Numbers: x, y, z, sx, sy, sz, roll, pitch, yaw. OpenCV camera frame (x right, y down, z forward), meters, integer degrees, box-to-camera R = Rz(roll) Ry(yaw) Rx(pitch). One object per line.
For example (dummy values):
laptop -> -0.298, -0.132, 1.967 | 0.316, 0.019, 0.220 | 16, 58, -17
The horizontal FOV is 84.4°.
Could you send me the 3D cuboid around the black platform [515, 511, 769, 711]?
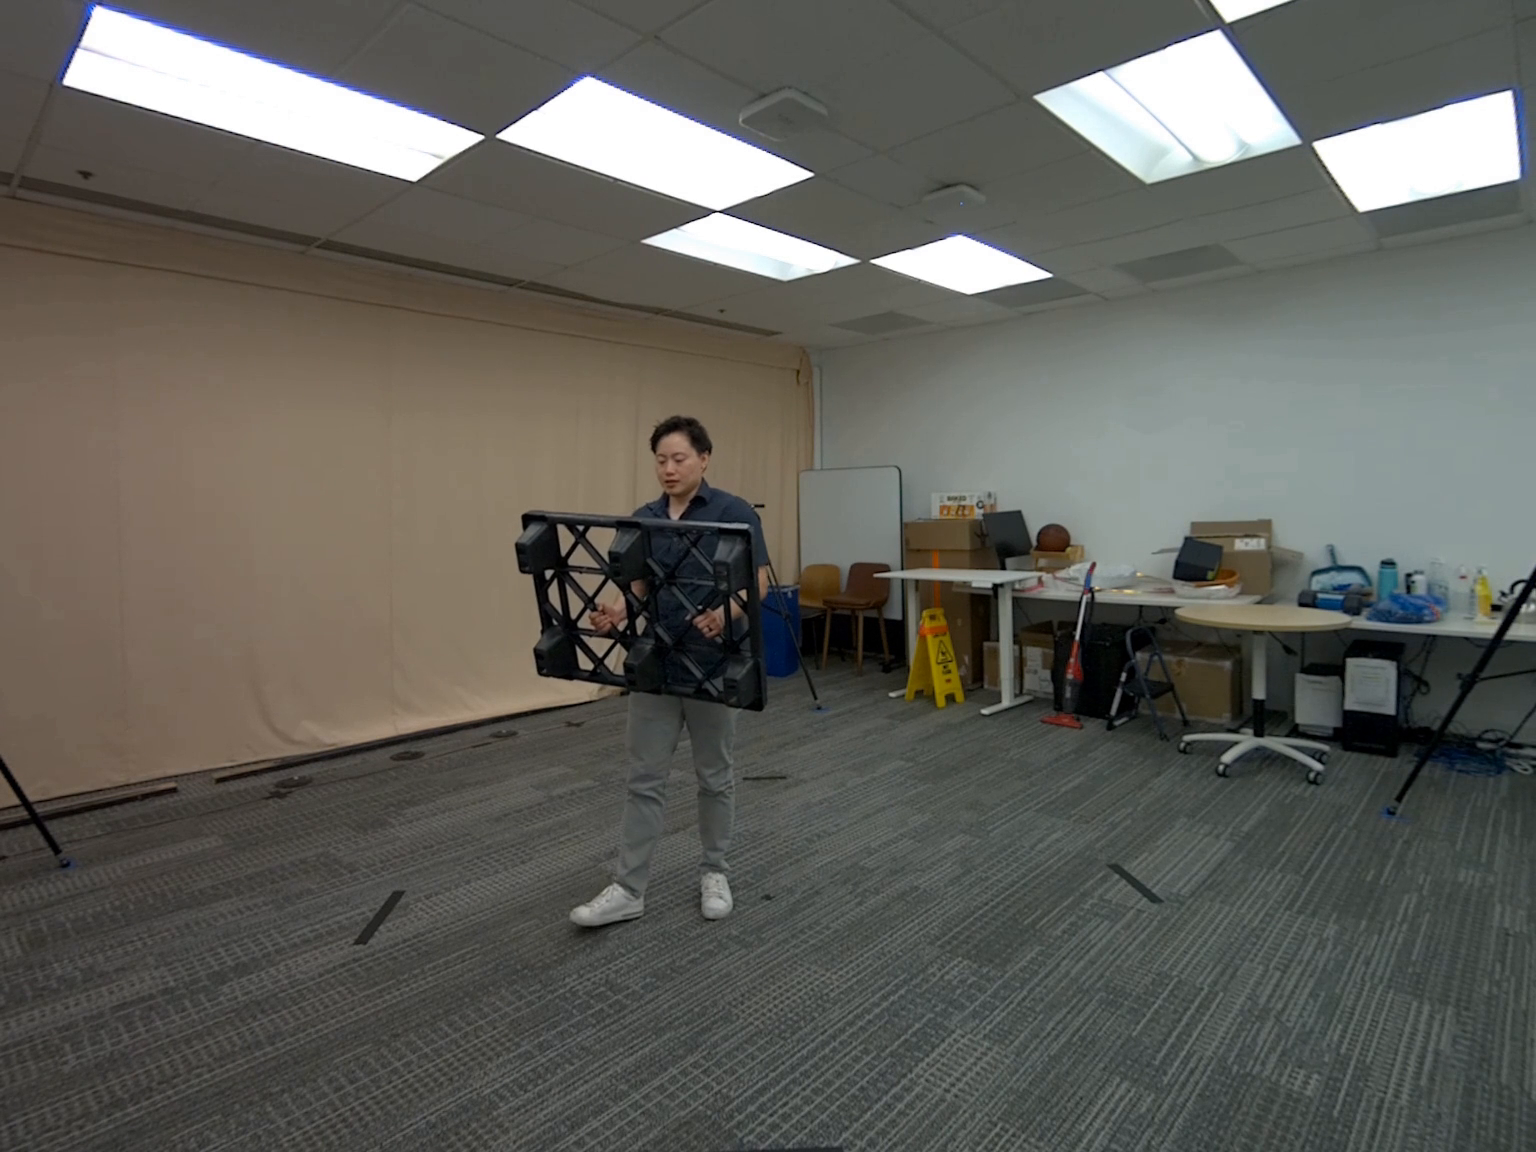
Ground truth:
black platform -> -0.414, 0.117, 2.608 | 0.825, 0.597, 0.142 | 5, 22, 22
